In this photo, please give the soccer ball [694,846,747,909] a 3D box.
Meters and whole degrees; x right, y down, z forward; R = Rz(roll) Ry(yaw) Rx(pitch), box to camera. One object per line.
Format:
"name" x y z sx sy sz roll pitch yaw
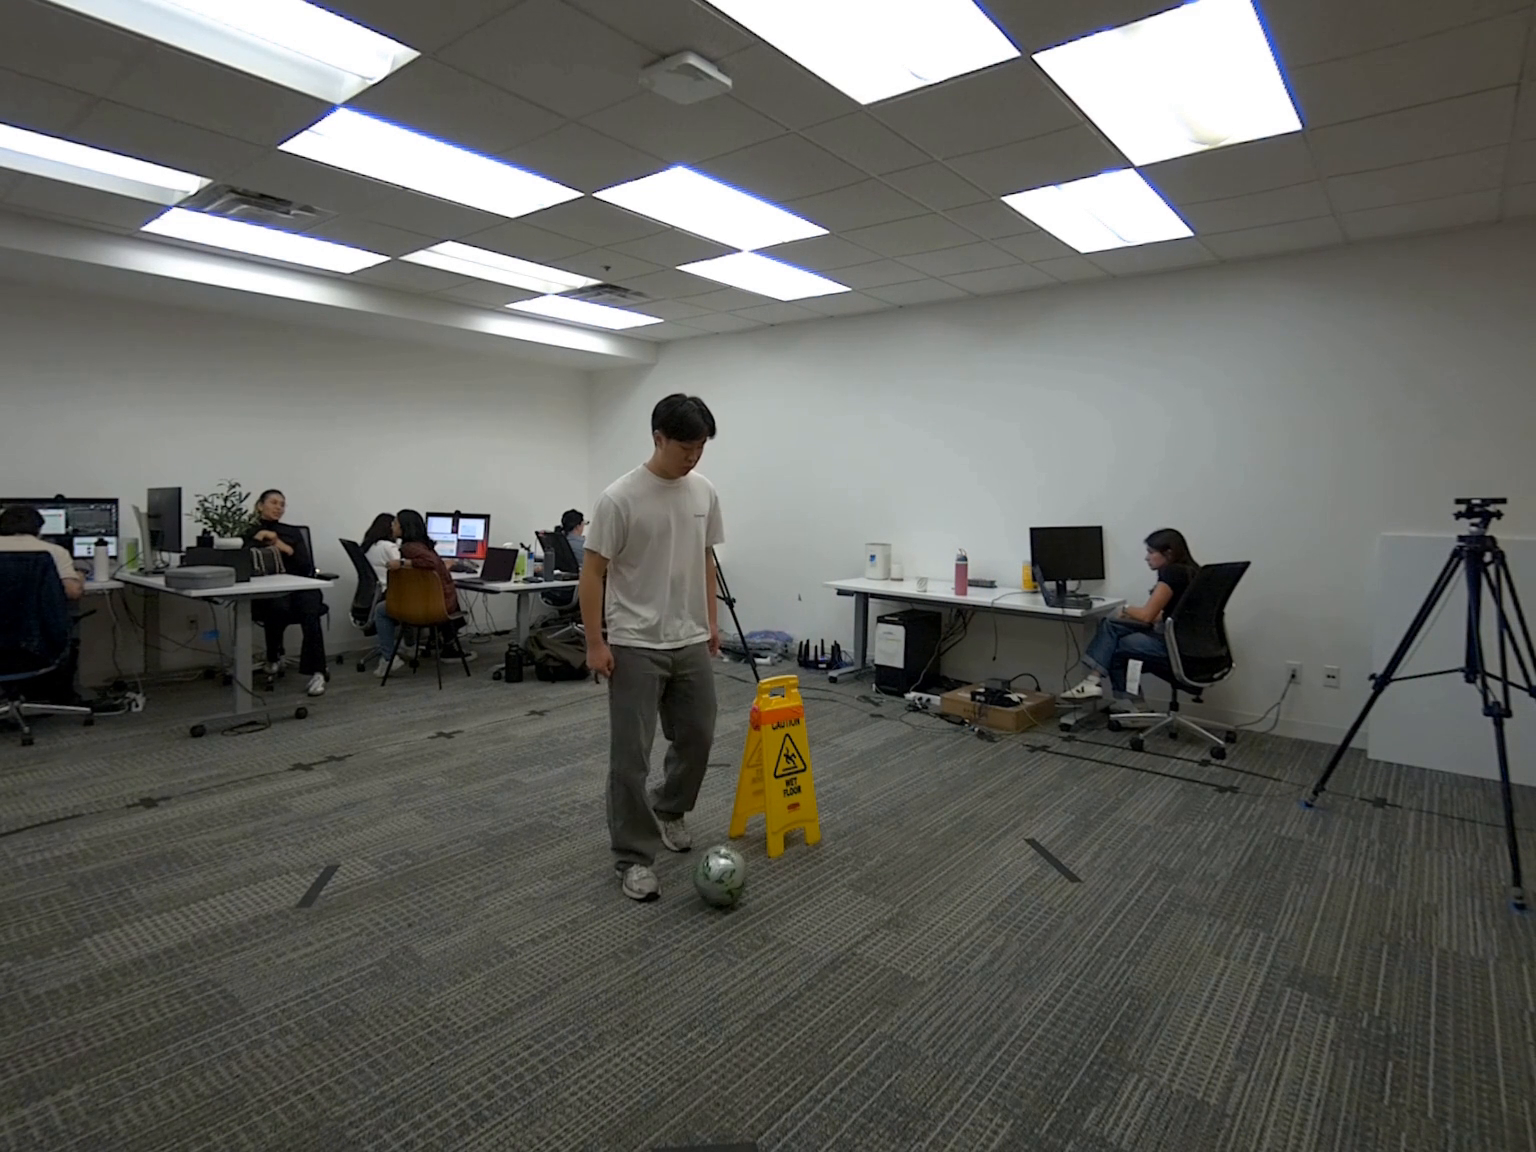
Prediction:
"soccer ball" -0.160 0.998 2.856 0.187 0.187 0.188 1 4 -2
